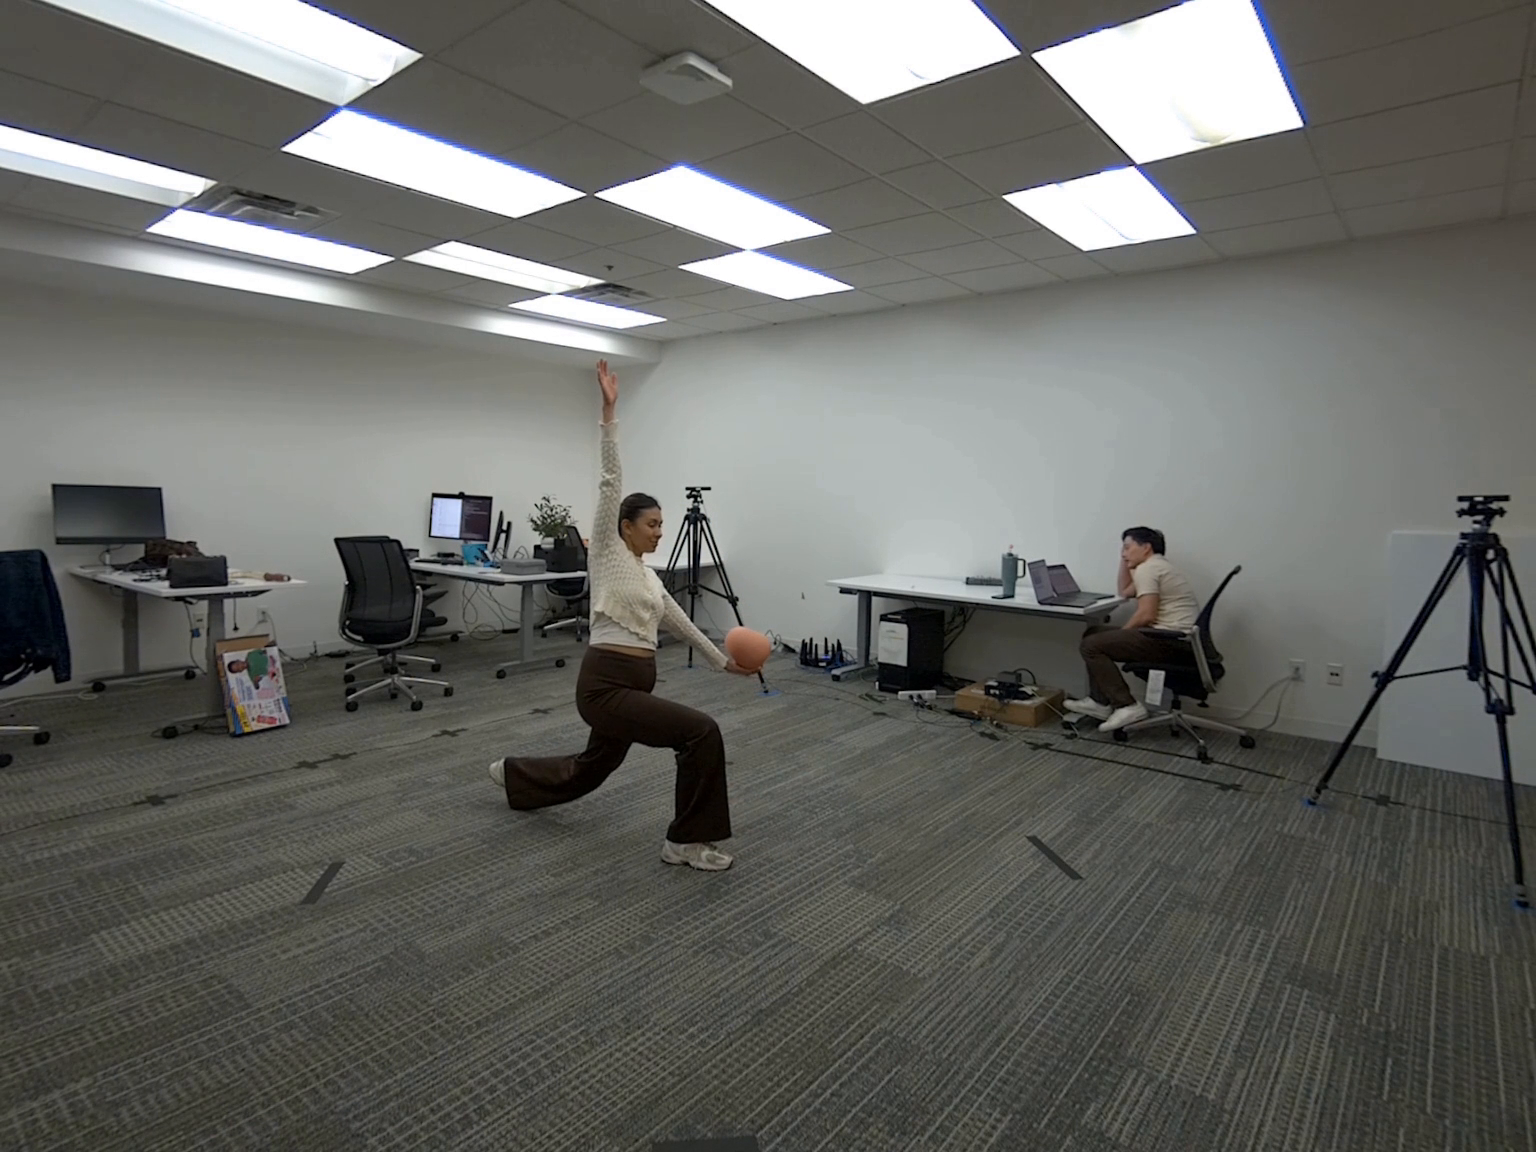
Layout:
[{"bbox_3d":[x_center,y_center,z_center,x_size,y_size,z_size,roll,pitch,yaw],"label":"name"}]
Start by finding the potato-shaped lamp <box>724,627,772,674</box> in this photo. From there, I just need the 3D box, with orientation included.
[{"bbox_3d":[-0.105,0.308,3.694,0.197,0.164,0.173,37,18,-5],"label":"potato-shaped lamp"}]
